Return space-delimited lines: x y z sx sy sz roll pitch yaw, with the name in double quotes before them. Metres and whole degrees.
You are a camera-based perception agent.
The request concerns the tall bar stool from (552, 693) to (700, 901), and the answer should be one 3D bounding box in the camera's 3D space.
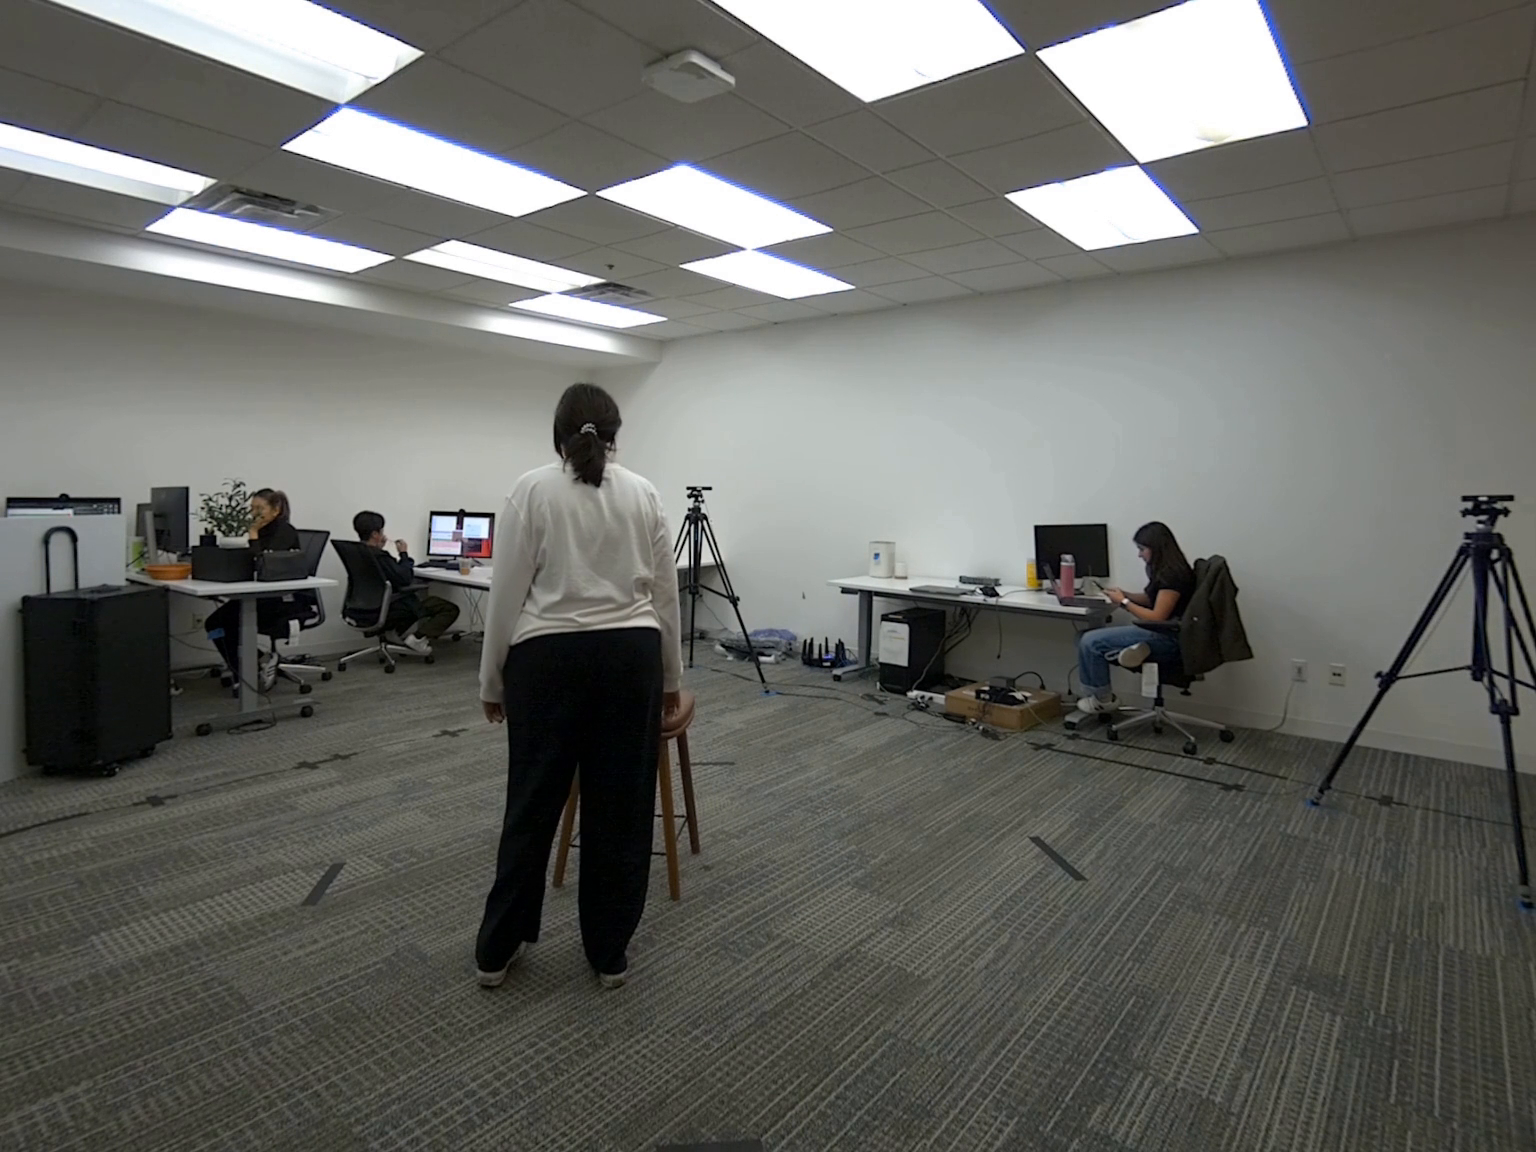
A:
"tall bar stool" -0.499 0.632 3.063 0.472 0.887 0.453 0 3 9
